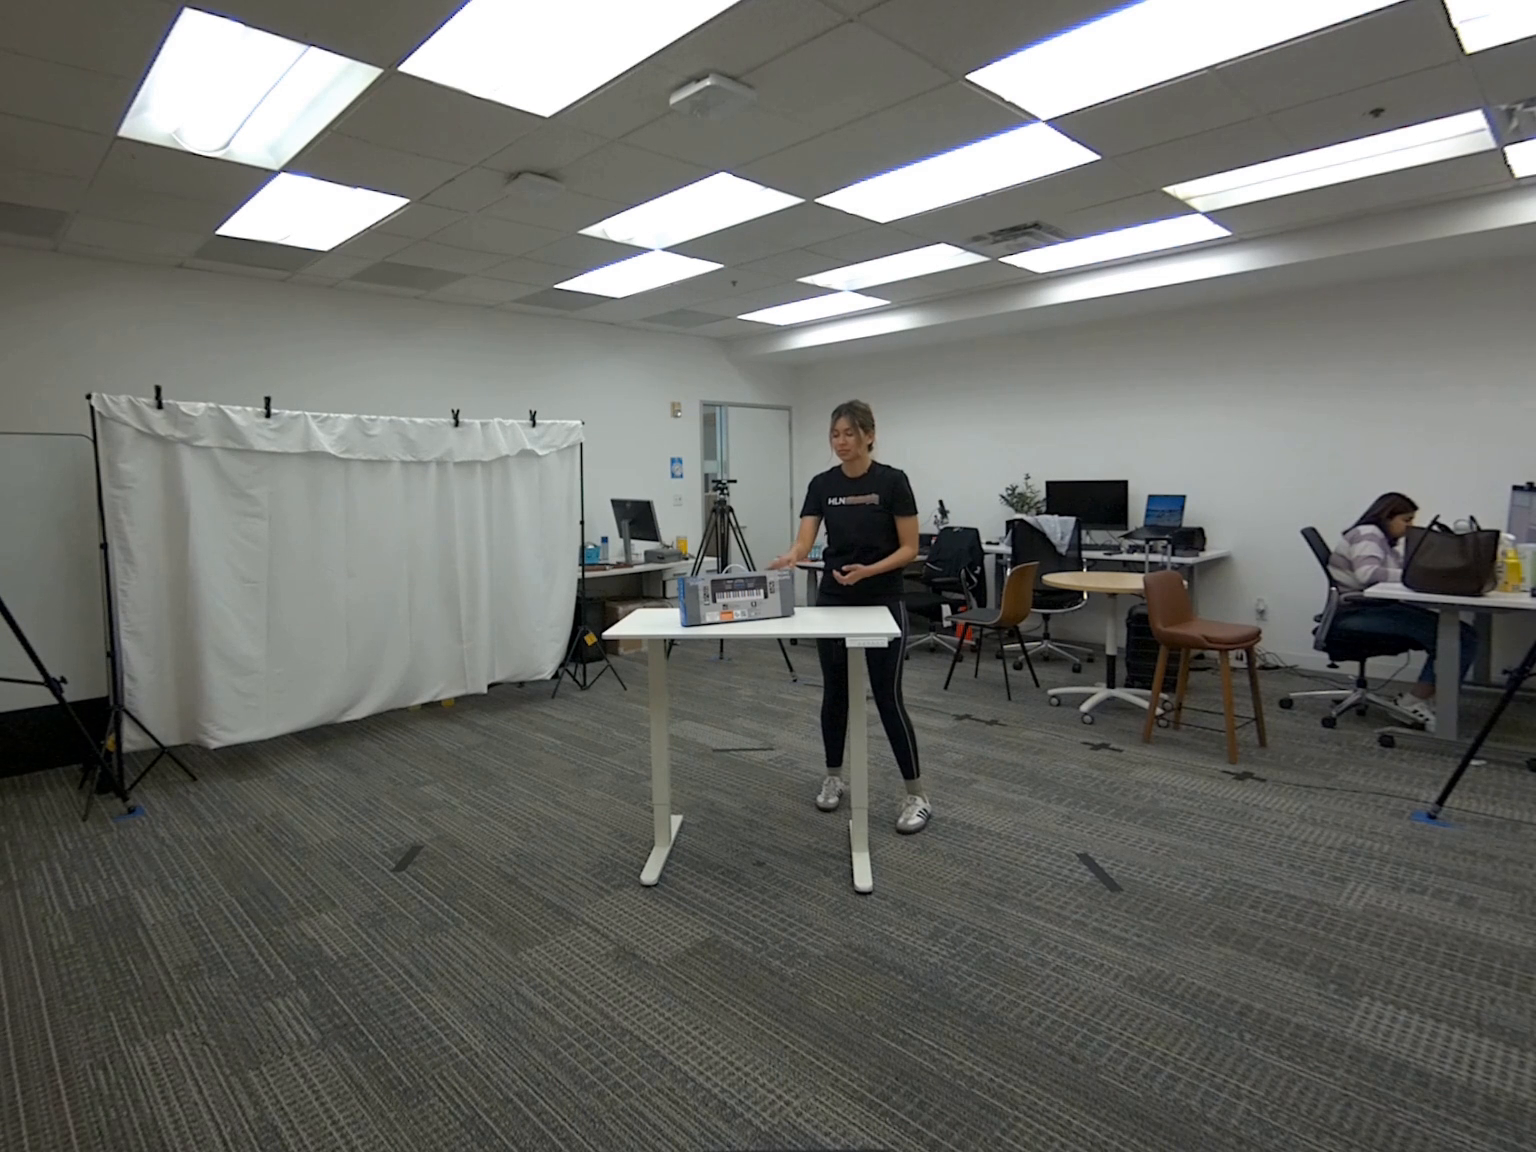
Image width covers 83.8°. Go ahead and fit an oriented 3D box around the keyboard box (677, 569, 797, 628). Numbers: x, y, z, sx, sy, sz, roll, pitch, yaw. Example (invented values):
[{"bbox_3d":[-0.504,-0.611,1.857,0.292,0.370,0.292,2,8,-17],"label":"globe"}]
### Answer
[{"bbox_3d":[-0.111,0.078,3.114,0.428,0.176,0.060,-4,-3,-25],"label":"keyboard box"}]
